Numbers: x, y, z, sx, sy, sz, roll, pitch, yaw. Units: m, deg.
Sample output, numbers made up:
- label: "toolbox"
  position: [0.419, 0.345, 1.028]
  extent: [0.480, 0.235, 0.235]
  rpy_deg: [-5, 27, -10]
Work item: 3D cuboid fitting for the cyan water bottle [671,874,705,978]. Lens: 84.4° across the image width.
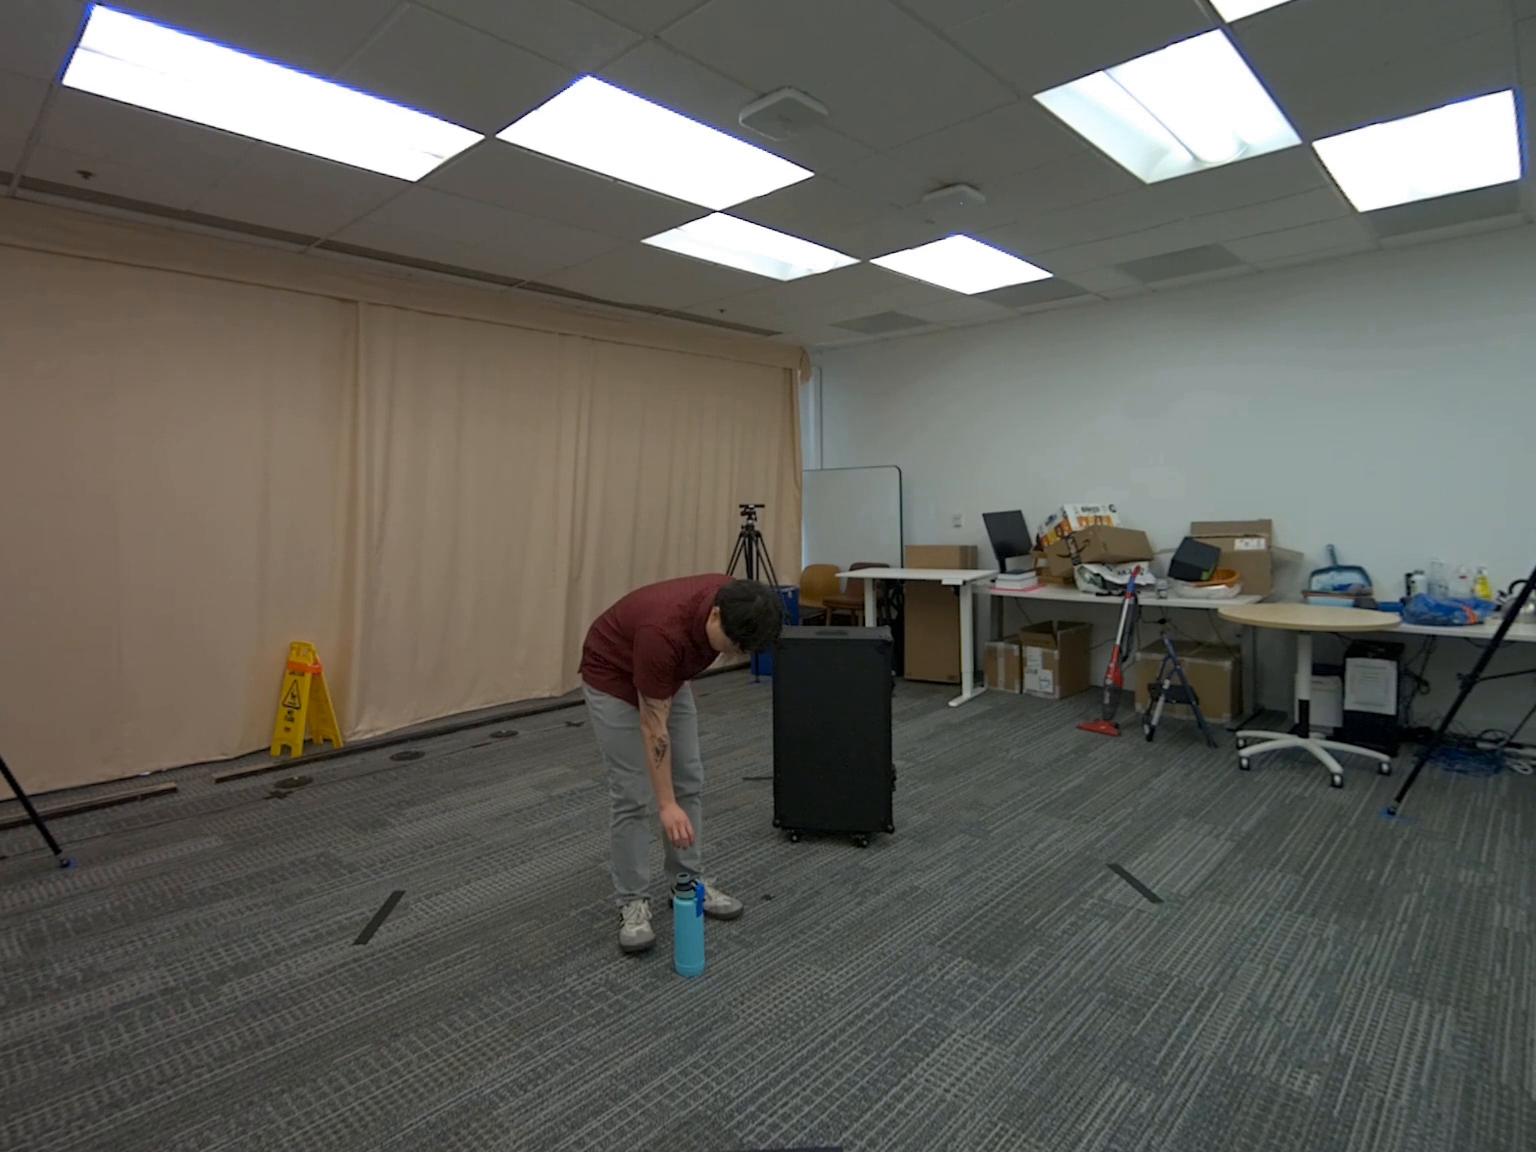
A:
- label: "cyan water bottle"
  position: [-0.229, 1.037, 2.531]
  extent: [0.092, 0.283, 0.092]
  rpy_deg: [0, 0, -2]
